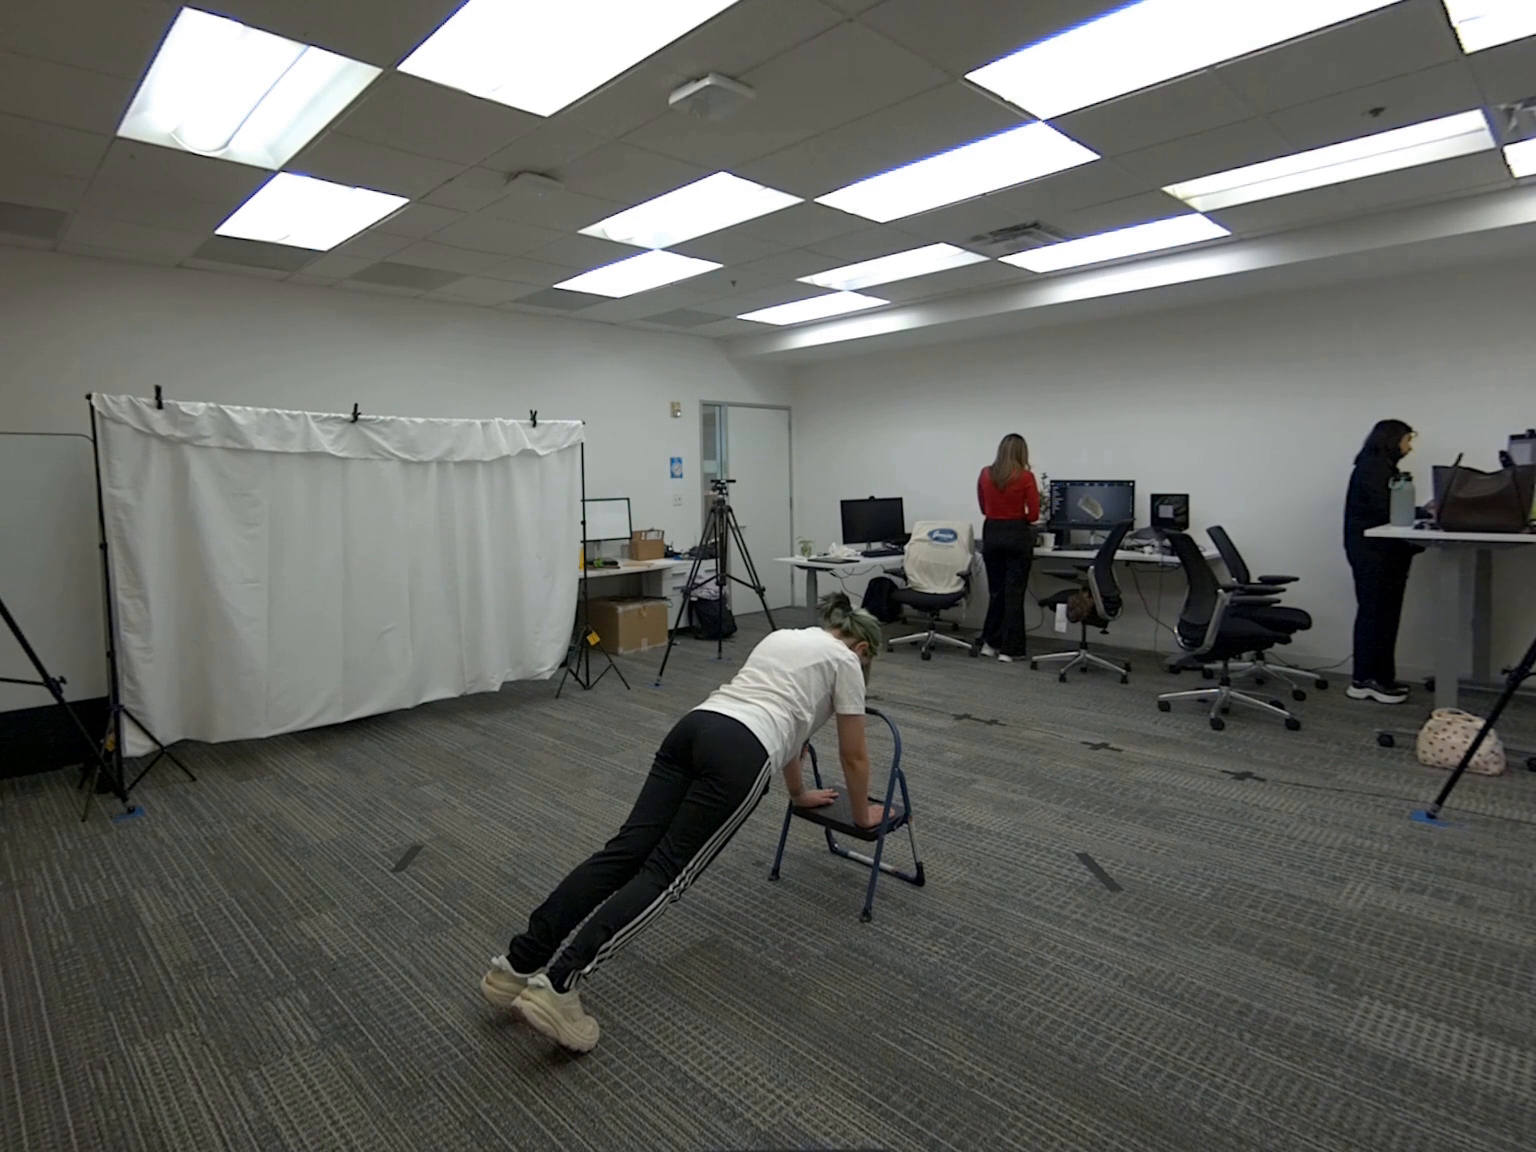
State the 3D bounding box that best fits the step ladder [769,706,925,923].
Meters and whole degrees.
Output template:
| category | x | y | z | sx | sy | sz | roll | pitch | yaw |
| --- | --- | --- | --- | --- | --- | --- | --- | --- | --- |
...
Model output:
| category | x | y | z | sx | sy | sz | roll | pitch | yaw |
| --- | --- | --- | --- | --- | --- | --- | --- | --- | --- |
| step ladder | 0.271 | 0.759 | 2.938 | 0.444 | 0.604 | 0.340 | 3 | 6 | 45 |
